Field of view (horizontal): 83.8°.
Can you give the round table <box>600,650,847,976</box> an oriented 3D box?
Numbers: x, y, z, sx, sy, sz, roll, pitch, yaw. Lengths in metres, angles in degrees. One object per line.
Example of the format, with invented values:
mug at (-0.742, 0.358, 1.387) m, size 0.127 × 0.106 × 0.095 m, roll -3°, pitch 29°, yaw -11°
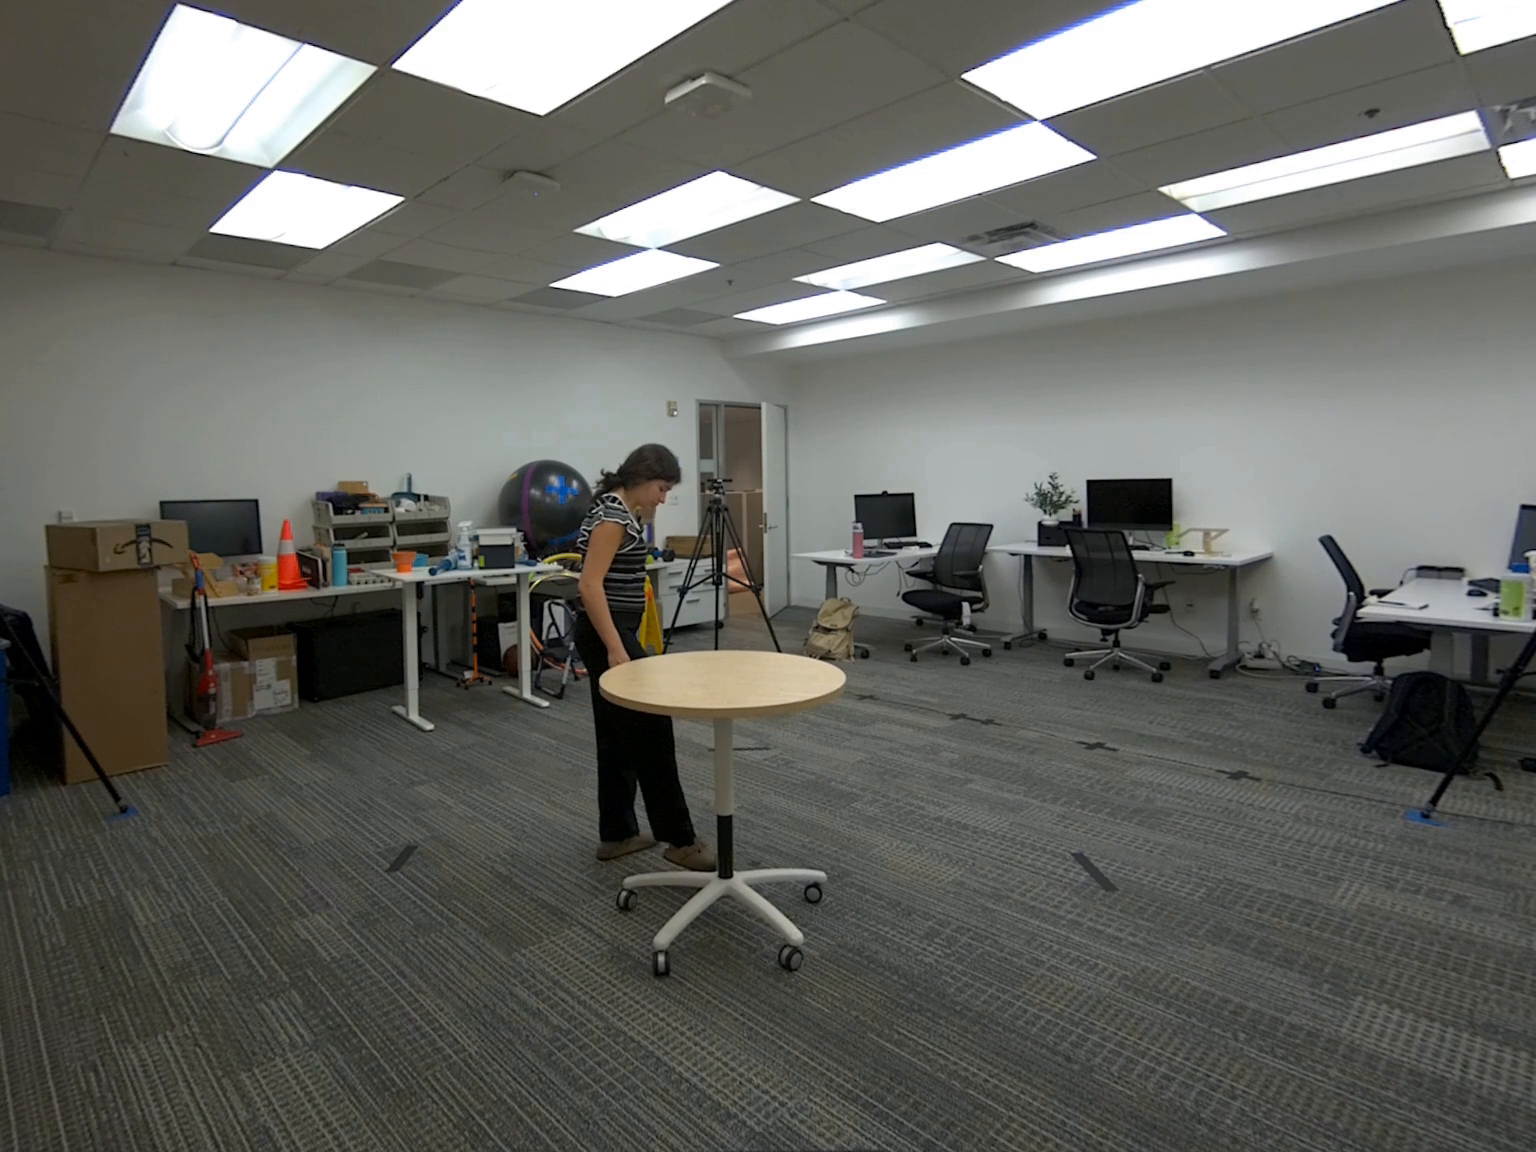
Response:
round table at (-0.144, 0.702, 2.680) m, size 0.784 × 0.783 × 0.789 m, roll -1°, pitch 5°, yaw -2°
